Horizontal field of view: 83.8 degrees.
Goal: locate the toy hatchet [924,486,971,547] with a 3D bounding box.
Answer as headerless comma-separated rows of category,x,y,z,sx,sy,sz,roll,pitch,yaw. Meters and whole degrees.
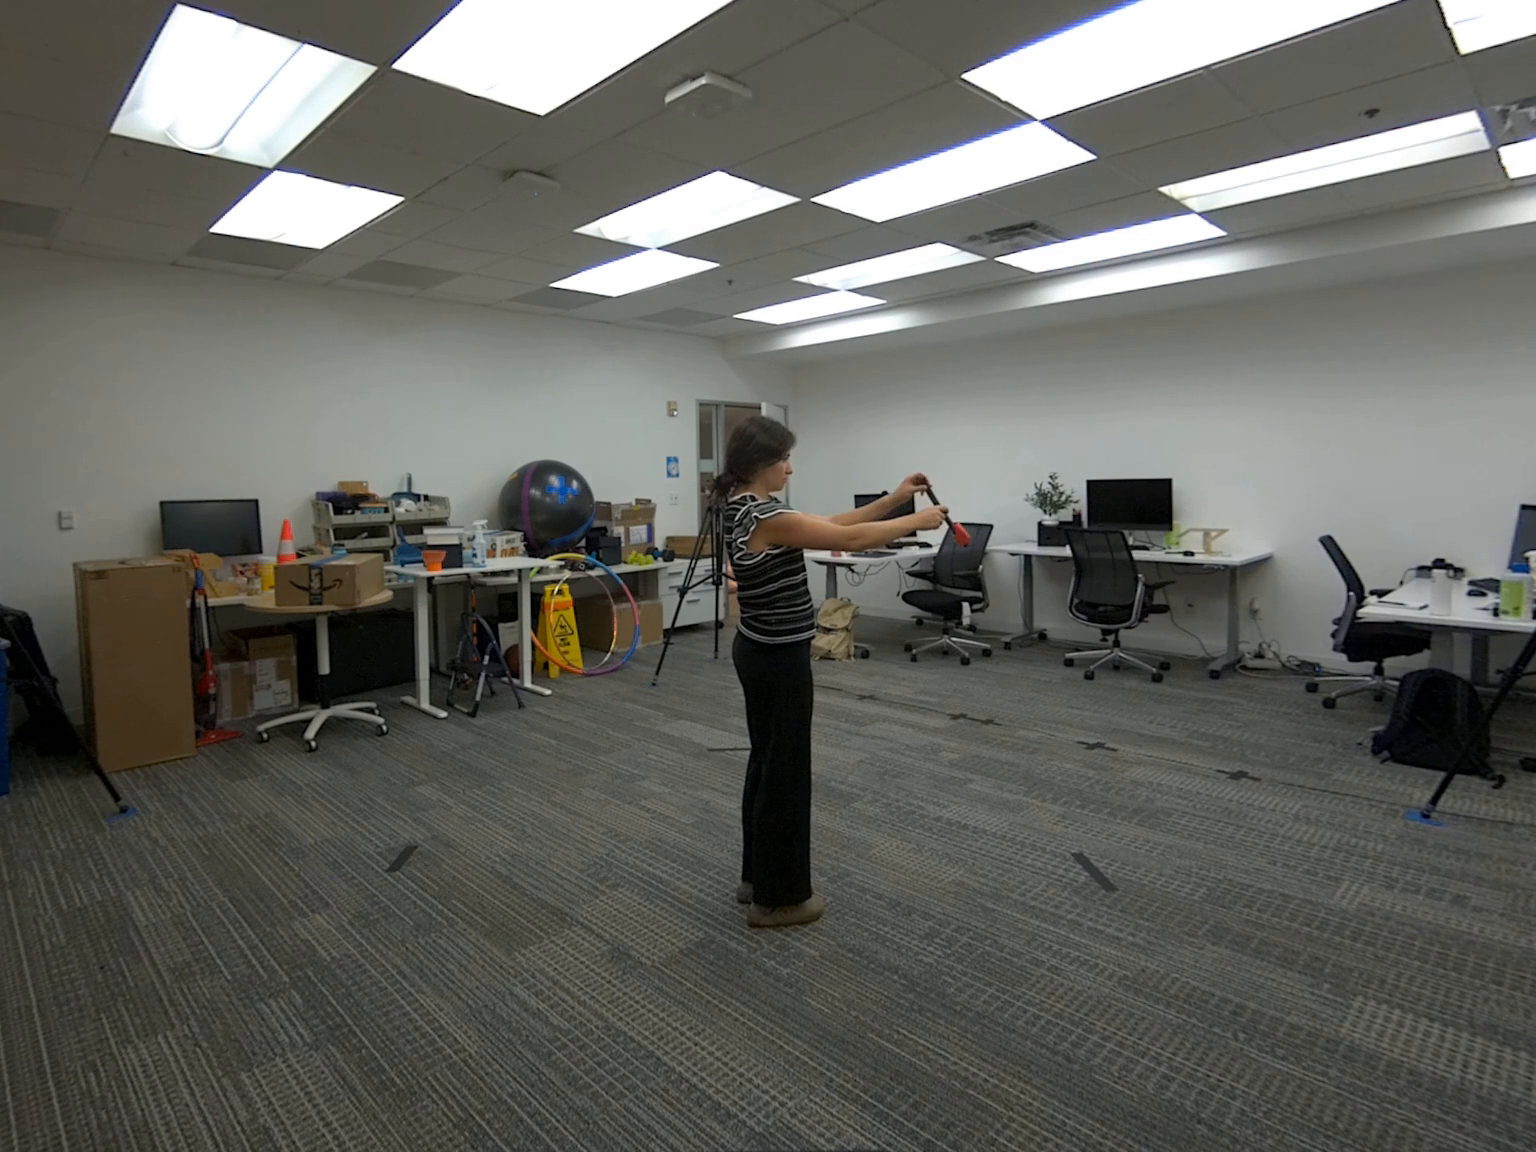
toy hatchet,0.563,-0.206,2.711,0.029,0.271,0.130,-35,-2,-1
